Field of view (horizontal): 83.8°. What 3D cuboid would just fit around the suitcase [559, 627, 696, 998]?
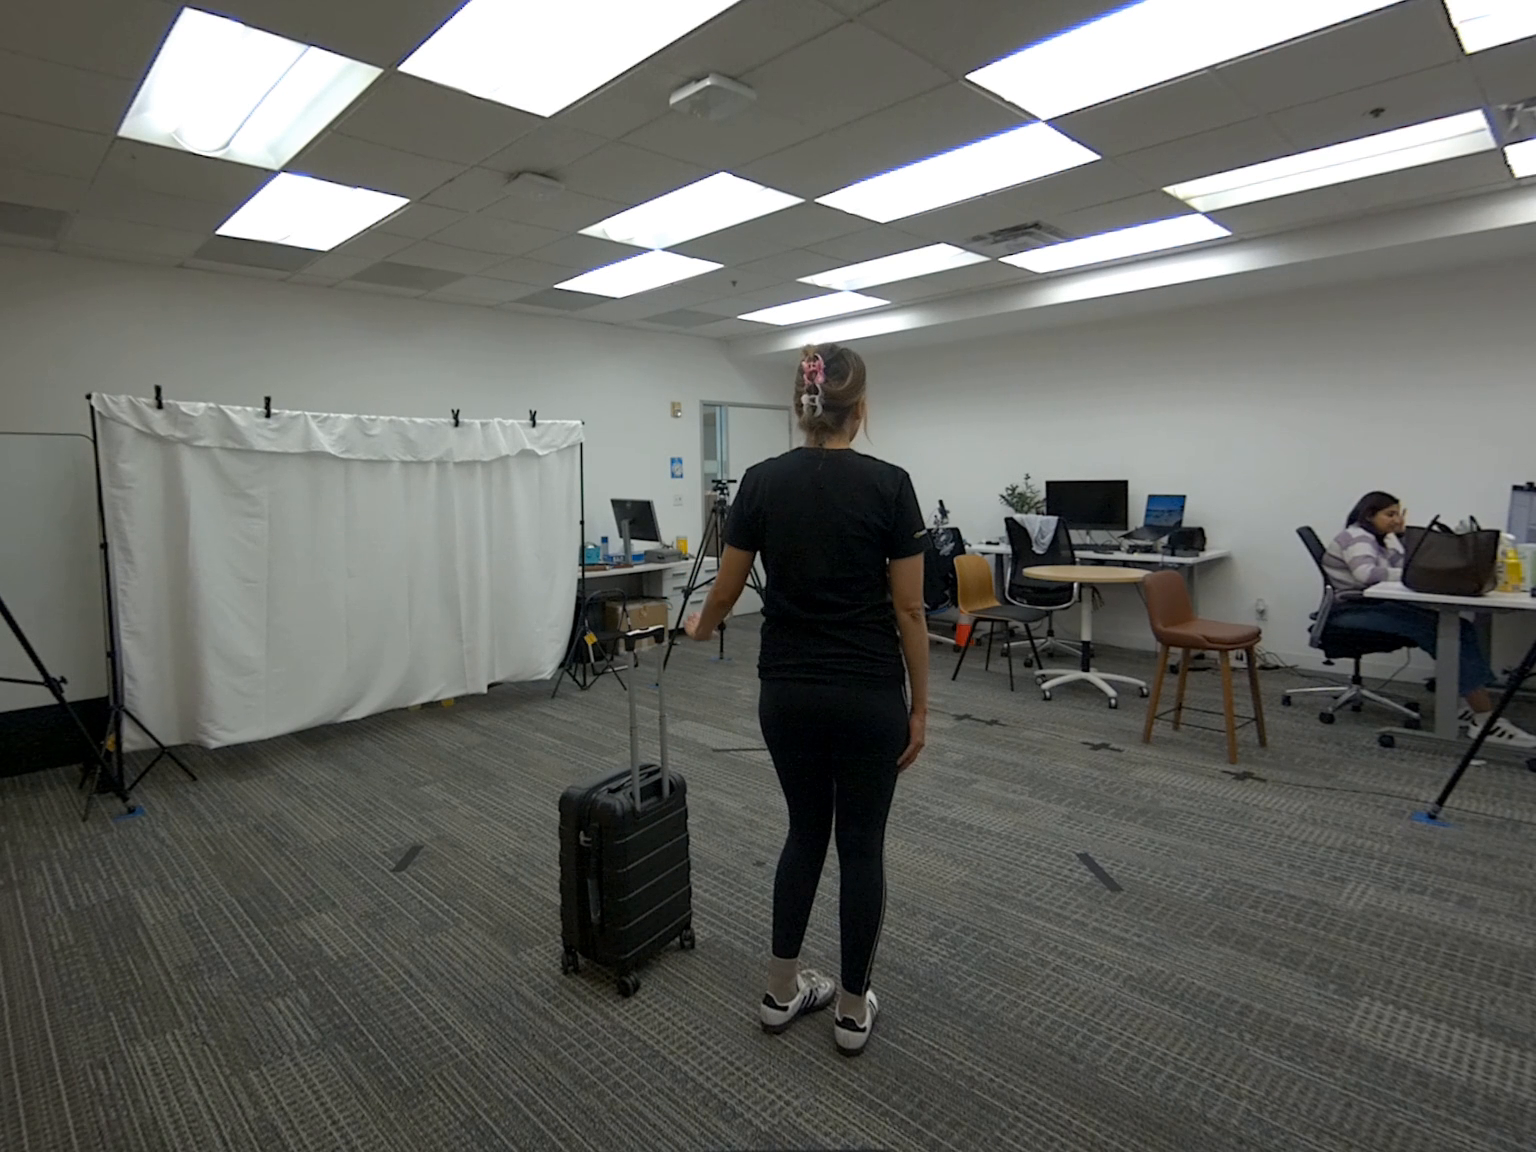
[{"bbox_3d":[-0.423,0.647,2.499,0.264,0.976,0.375,-1,4,33],"label":"suitcase"}]
